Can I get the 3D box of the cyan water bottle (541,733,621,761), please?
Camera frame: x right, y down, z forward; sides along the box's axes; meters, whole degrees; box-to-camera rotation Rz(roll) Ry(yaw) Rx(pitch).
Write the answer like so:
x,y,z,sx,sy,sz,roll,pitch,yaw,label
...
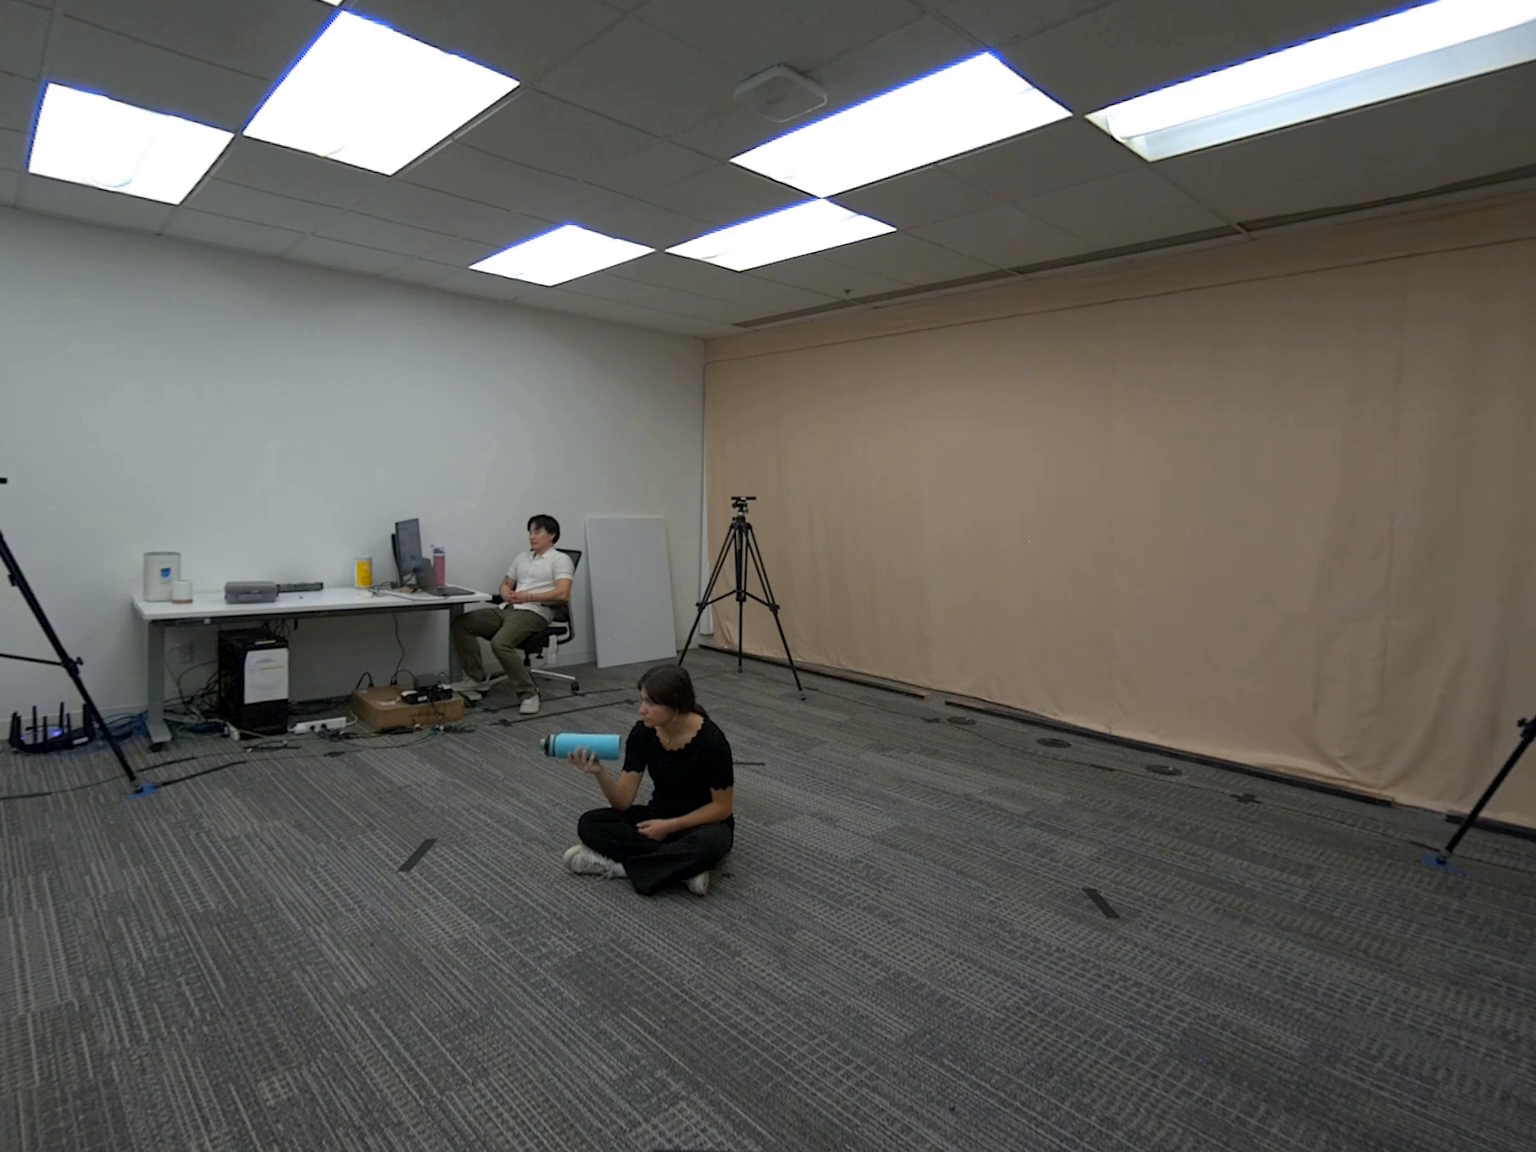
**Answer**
x,y,z,sx,sy,sz,roll,pitch,yaw,label
-0.695,0.621,3.059,0.282,0.092,0.093,2,4,-5,cyan water bottle
